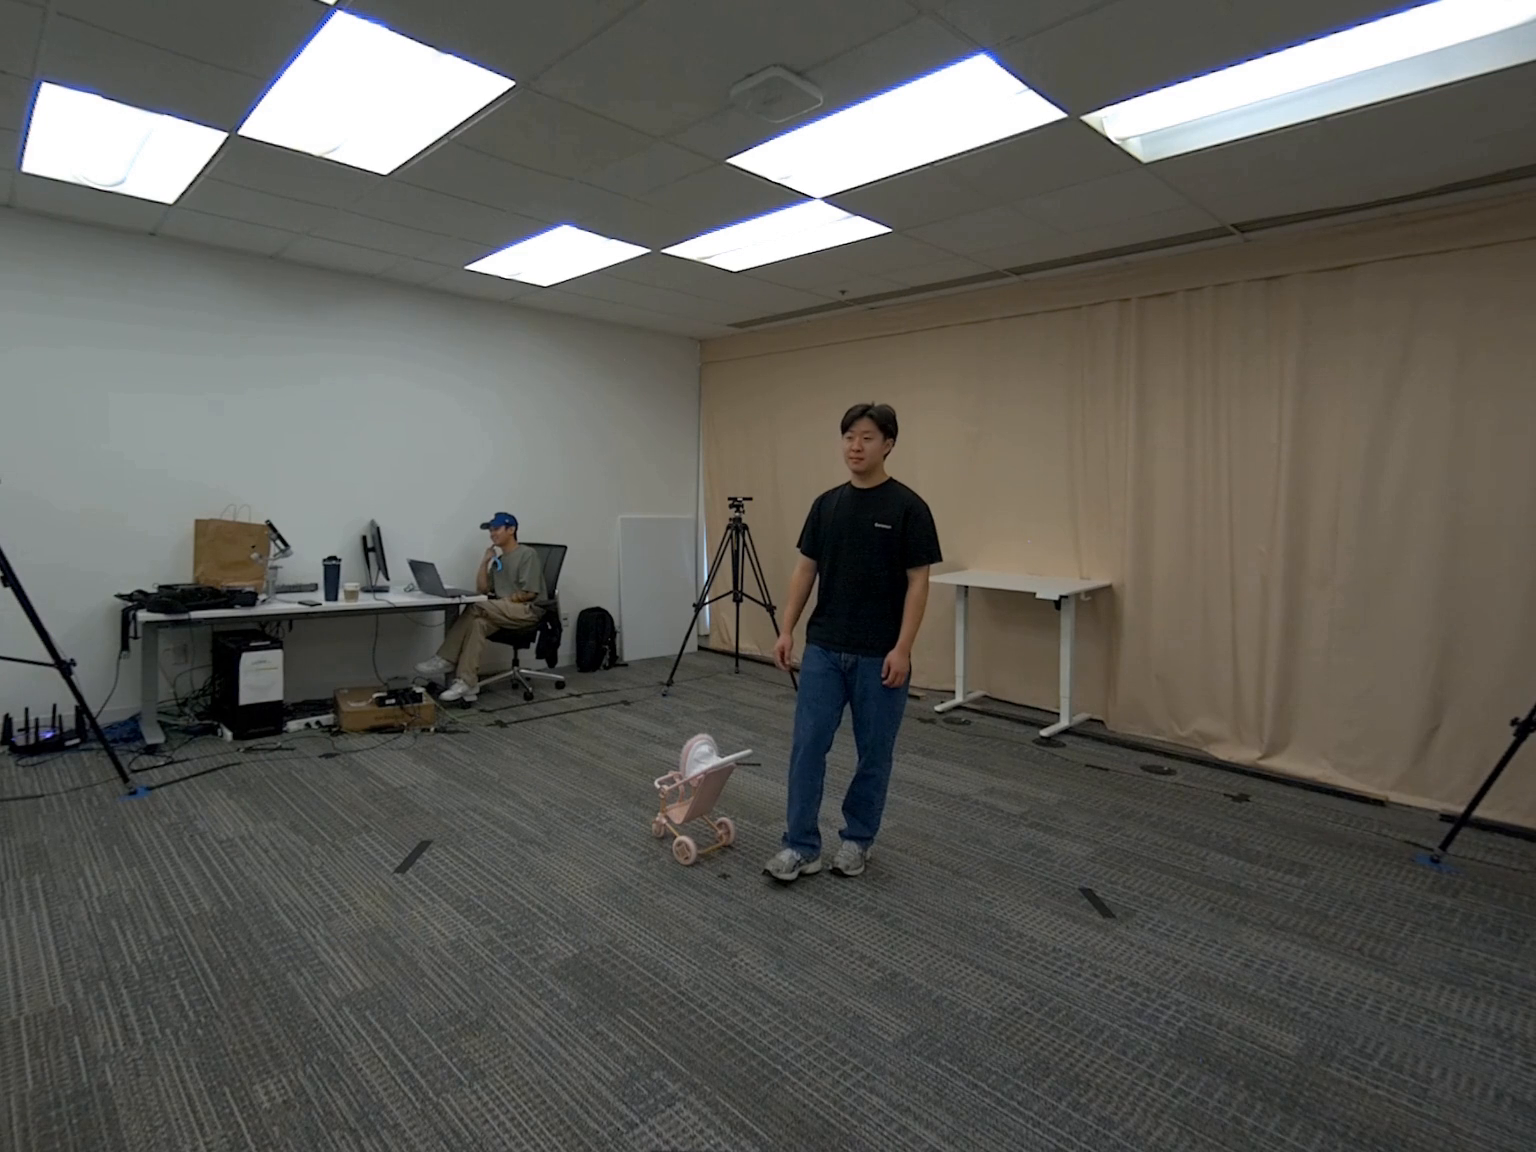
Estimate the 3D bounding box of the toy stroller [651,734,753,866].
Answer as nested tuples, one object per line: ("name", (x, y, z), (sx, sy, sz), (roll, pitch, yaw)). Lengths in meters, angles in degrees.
("toy stroller", (-0.292, 0.855, 3.323), (0.352, 0.531, 0.275), (25, 17, 39))
